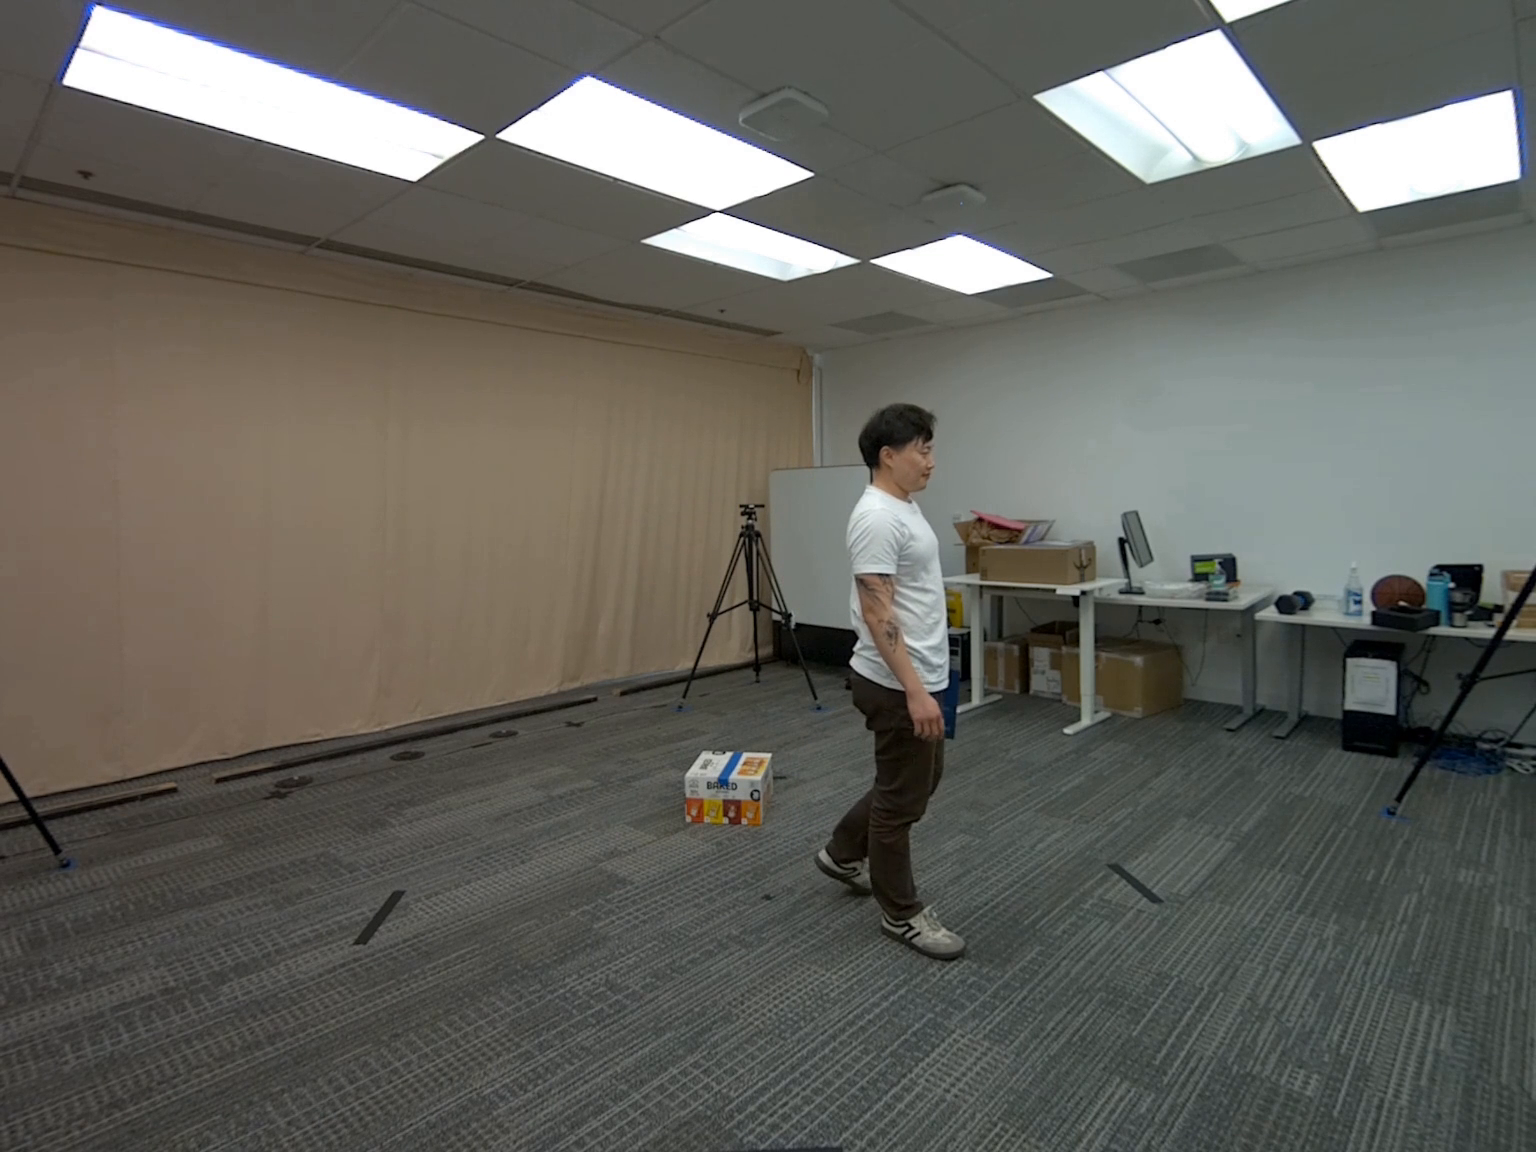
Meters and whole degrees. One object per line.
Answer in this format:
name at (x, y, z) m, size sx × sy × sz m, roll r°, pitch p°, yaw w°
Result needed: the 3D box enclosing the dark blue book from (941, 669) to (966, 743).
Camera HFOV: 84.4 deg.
dark blue book at (0.590, 0.446, 2.961) m, size 0.163 × 0.245 × 0.045 m, roll 6°, pitch -3°, yaw -1°
